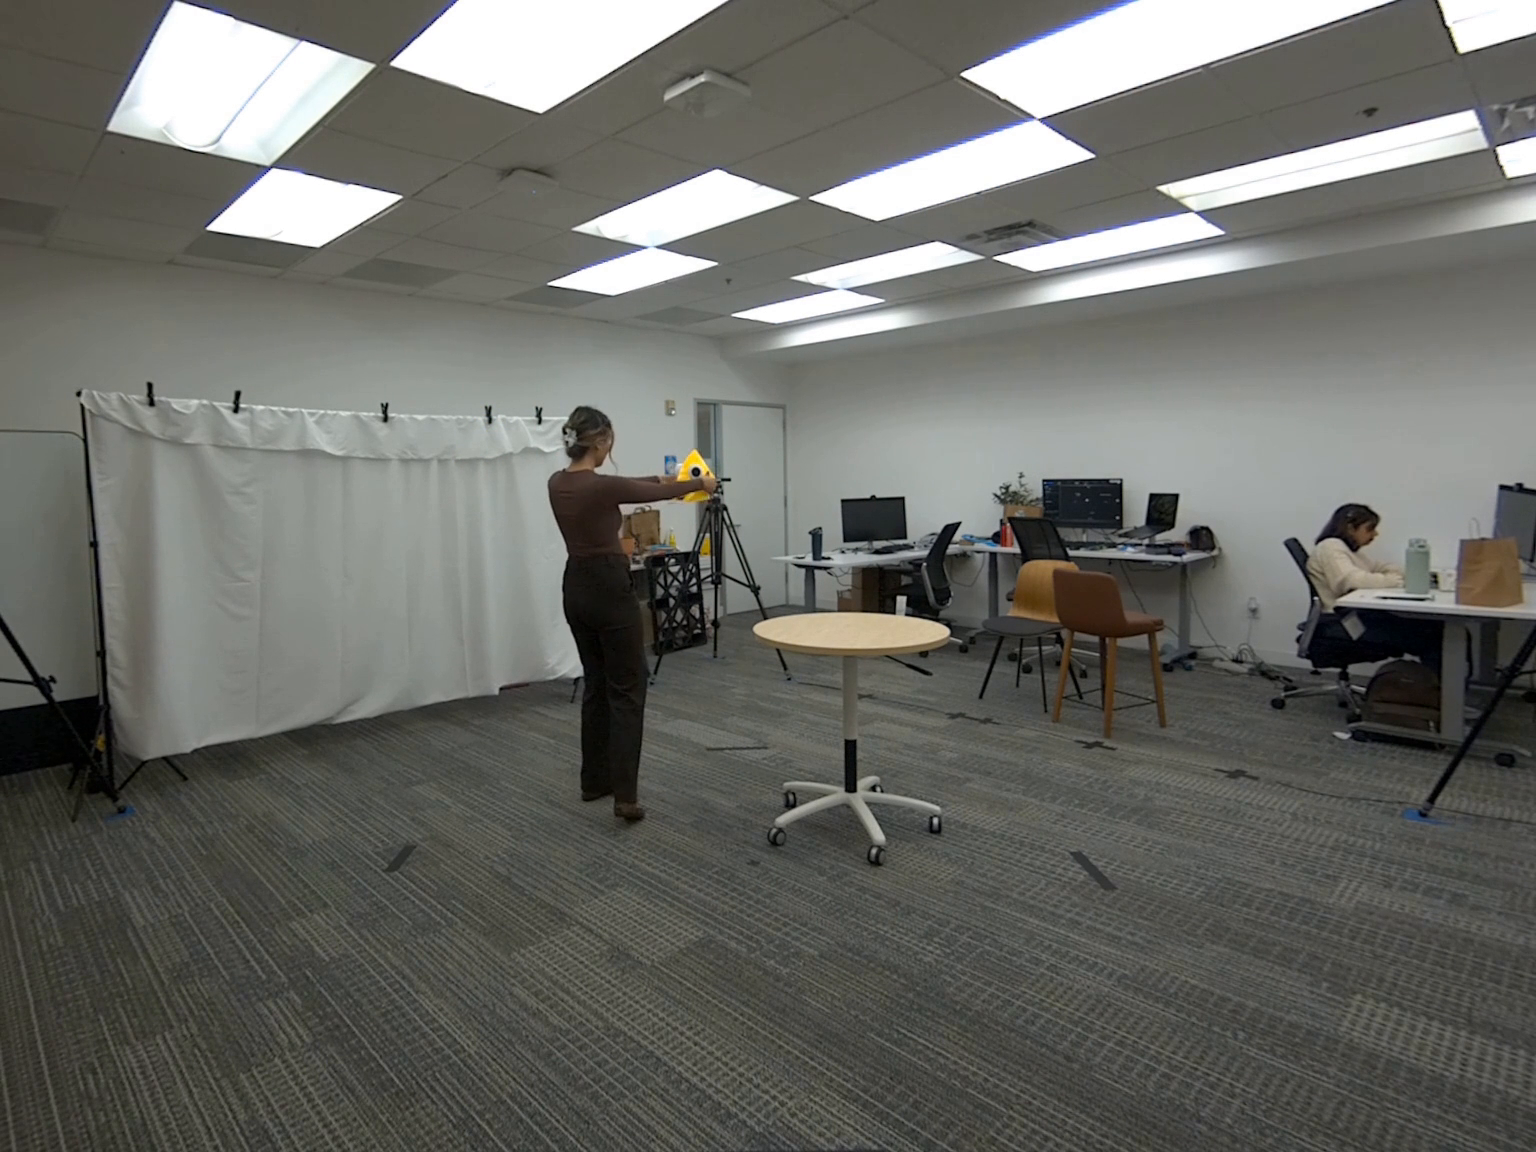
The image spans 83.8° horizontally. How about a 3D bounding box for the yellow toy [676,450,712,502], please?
[{"bbox_3d":[-0.375,-0.479,4.042,0.211,0.229,0.189,5,12,39],"label":"yellow toy"}]
